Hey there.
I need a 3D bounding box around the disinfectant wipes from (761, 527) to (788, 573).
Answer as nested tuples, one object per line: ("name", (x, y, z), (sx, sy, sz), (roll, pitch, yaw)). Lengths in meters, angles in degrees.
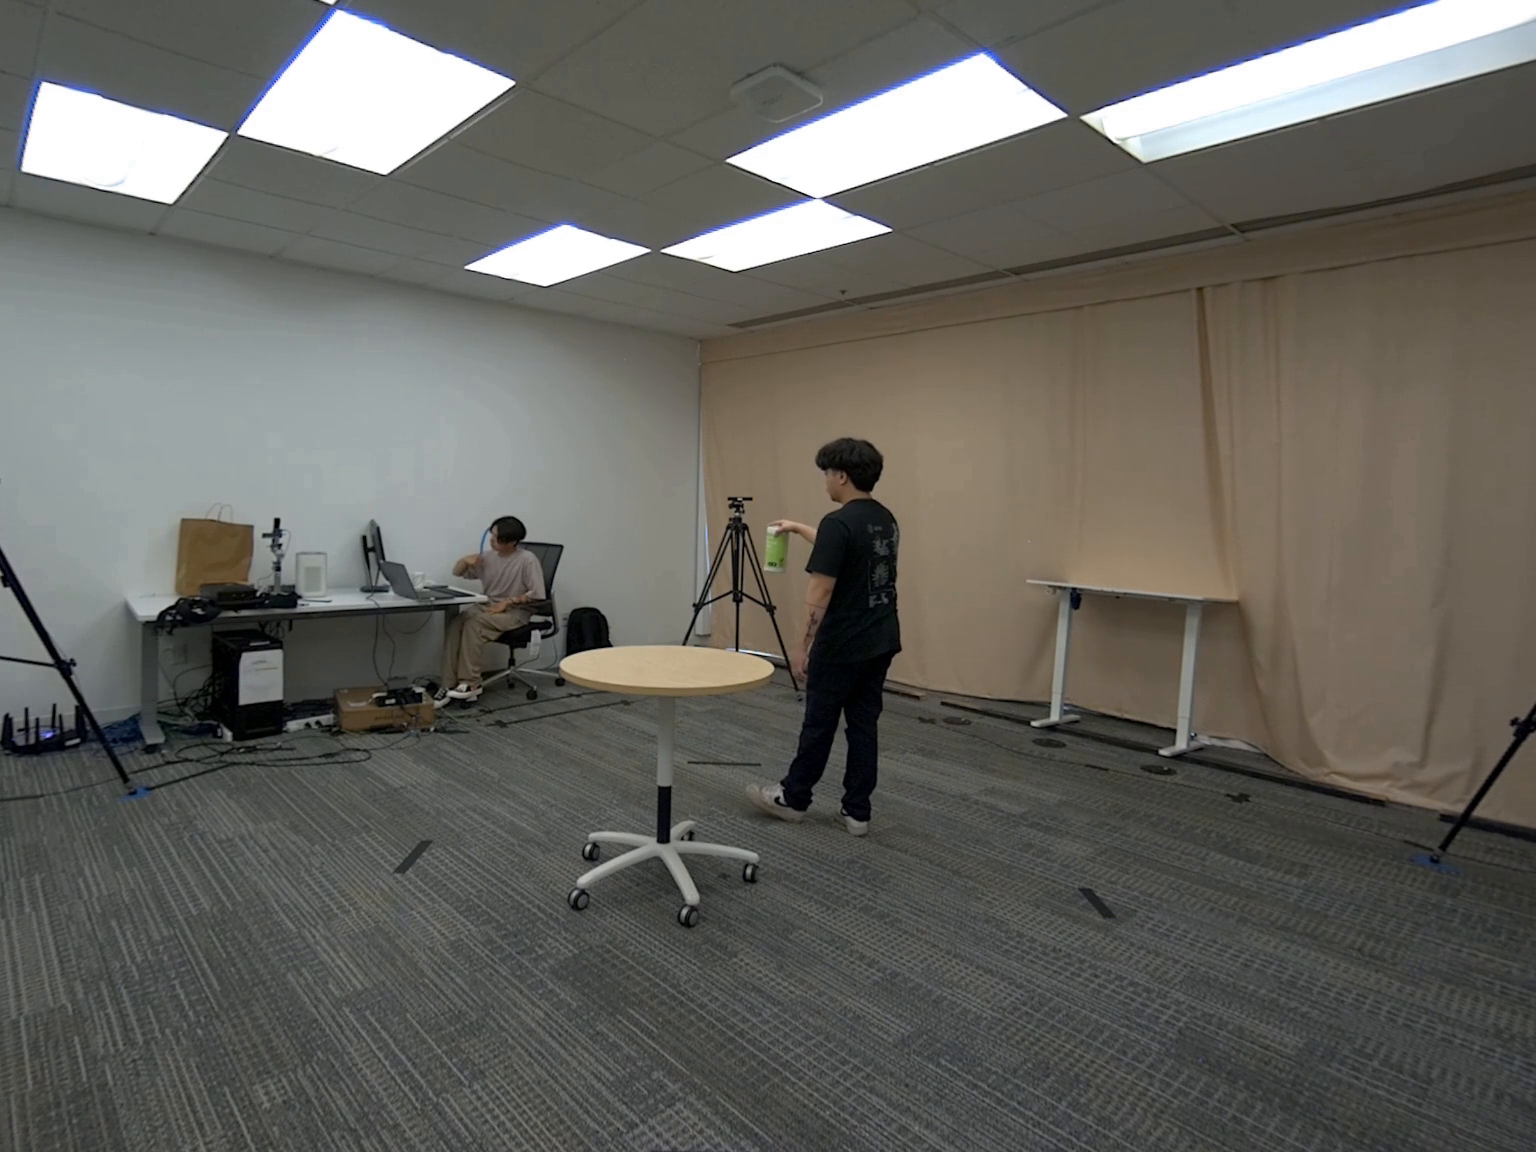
("disinfectant wipes", (0.025, -0.127, 4.084), (0.117, 0.216, 0.118), (5, 7, -2))
